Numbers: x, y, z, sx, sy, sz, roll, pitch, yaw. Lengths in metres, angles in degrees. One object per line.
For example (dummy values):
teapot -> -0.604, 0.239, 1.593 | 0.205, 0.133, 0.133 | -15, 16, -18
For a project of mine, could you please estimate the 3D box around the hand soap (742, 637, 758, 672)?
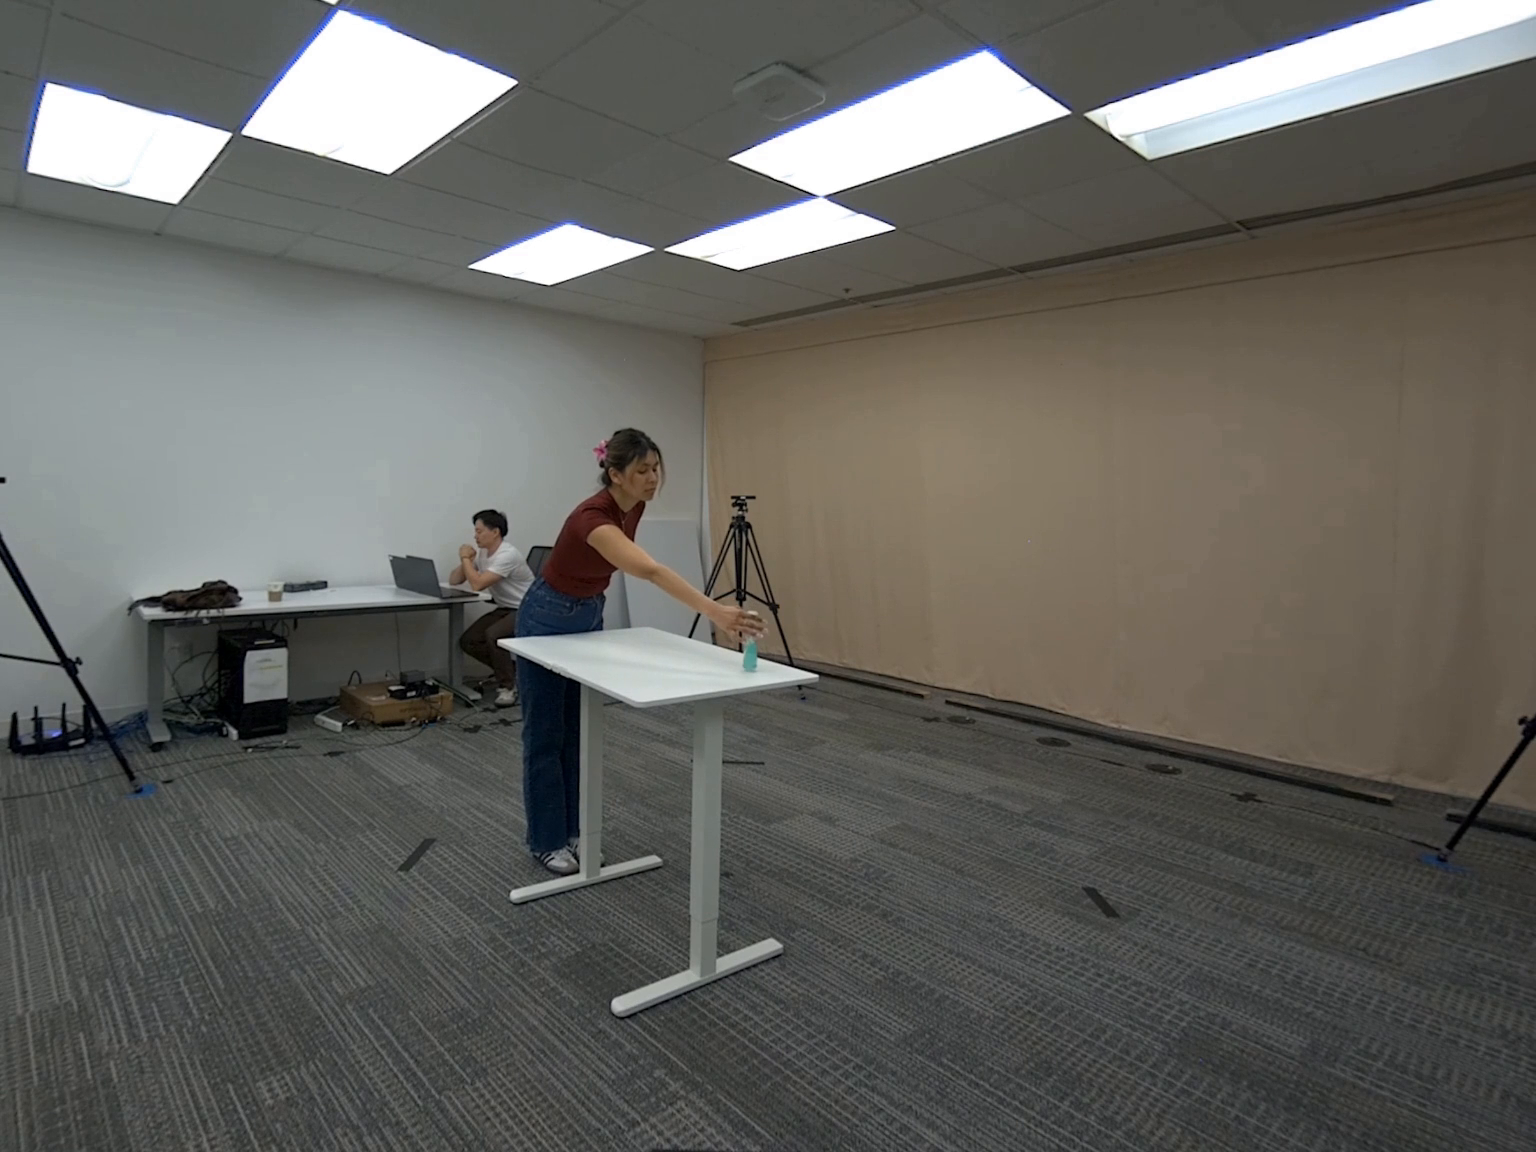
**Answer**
hand soap -> -0.060, 0.188, 2.480 | 0.043, 0.168, 0.084 | 0, -1, 2
